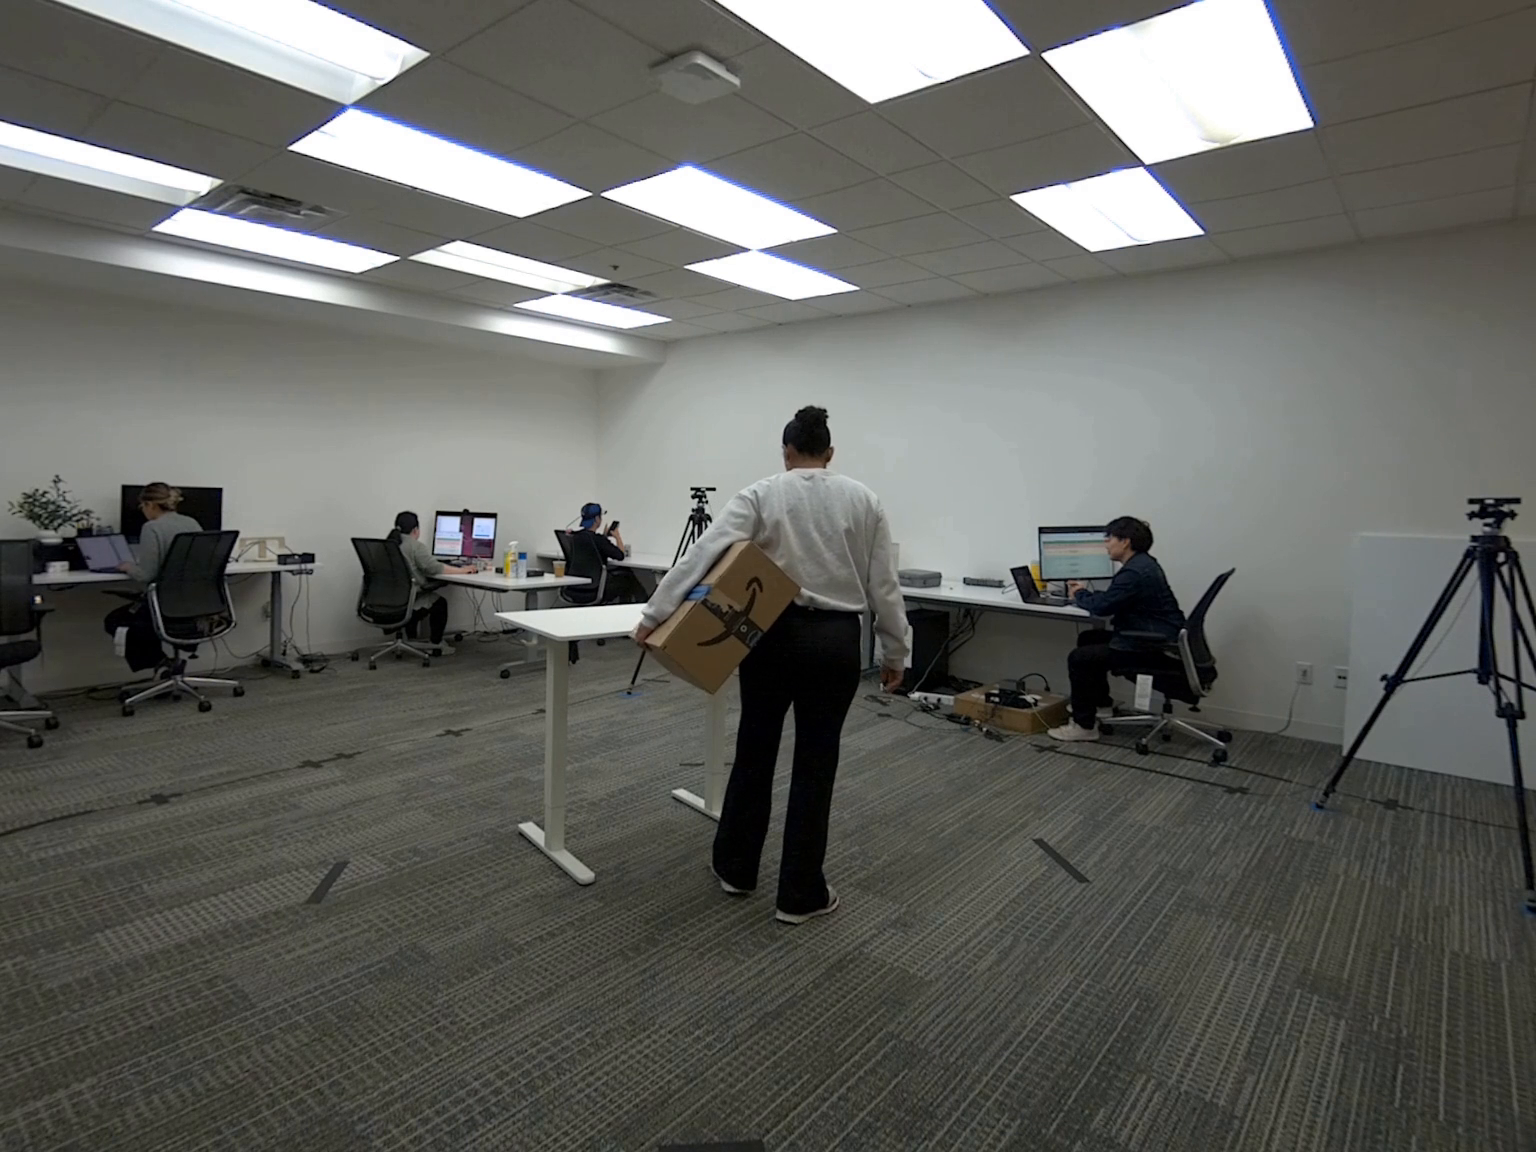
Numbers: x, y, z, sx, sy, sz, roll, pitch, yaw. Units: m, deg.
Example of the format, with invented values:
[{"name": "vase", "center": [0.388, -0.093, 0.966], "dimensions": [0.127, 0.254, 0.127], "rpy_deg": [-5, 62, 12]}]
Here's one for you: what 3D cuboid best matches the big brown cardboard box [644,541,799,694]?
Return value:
[{"name": "big brown cardboard box", "center": [-0.207, 0.115, 2.751], "dimensions": [0.229, 0.418, 0.598], "rpy_deg": [43, -13, -13]}]
